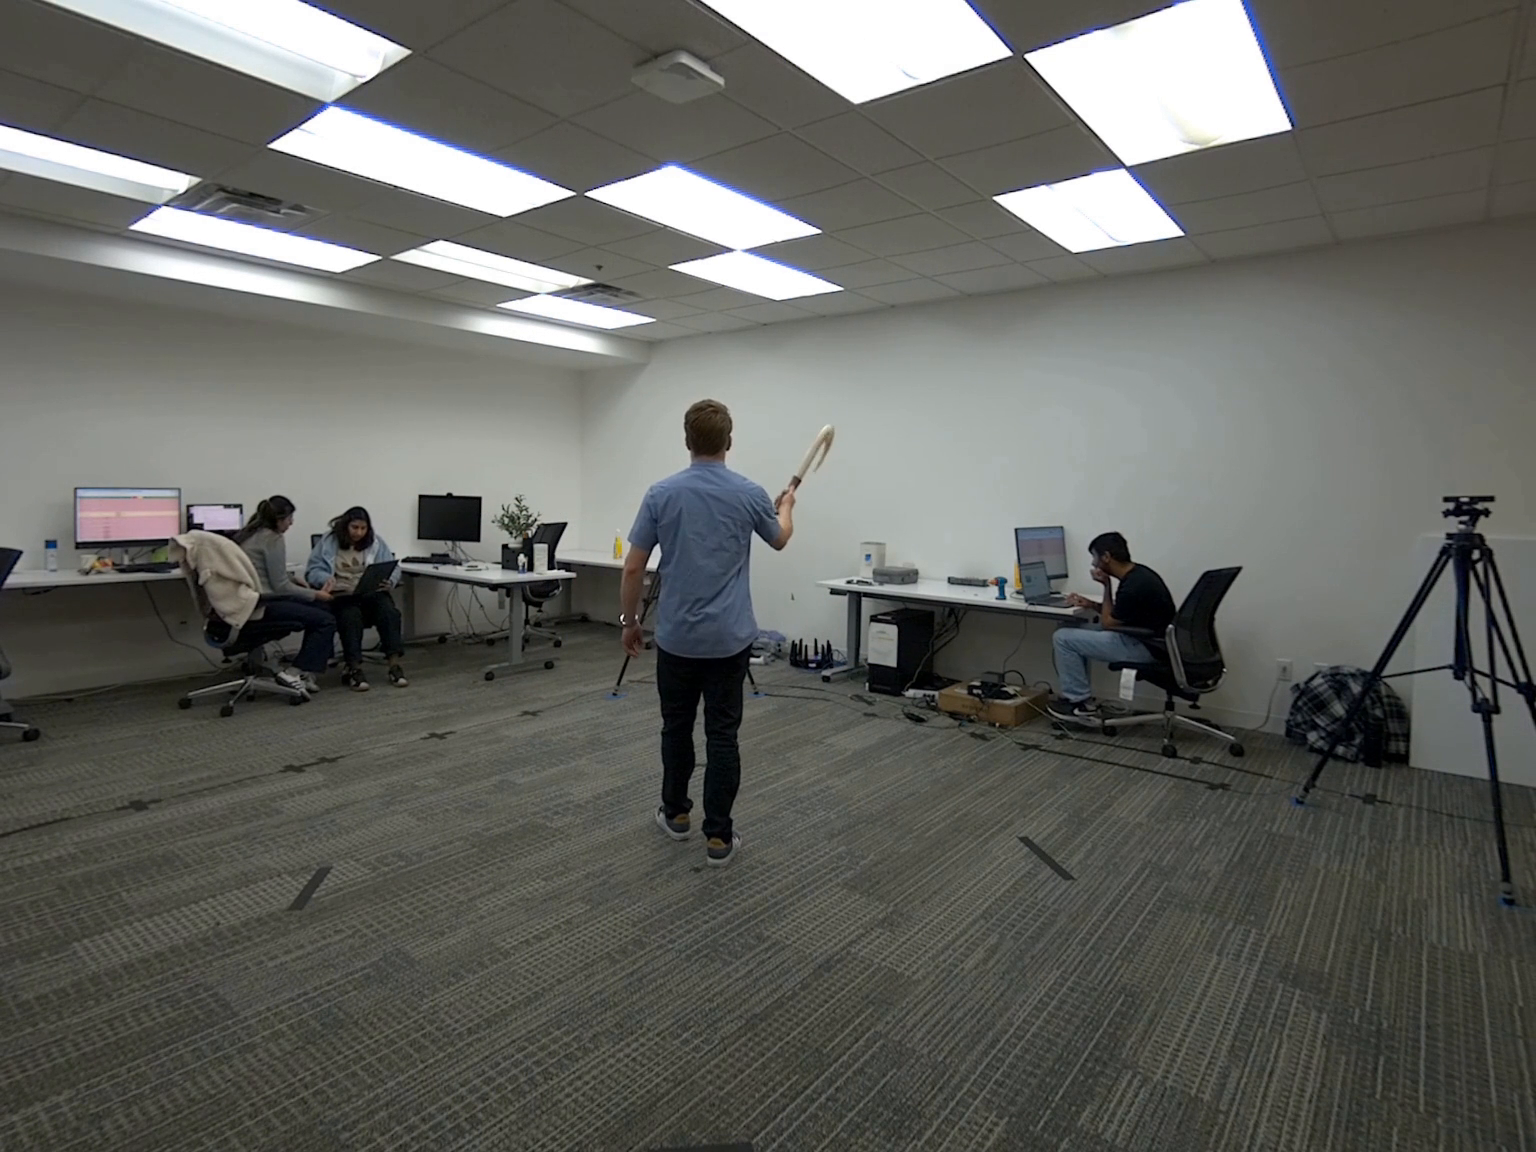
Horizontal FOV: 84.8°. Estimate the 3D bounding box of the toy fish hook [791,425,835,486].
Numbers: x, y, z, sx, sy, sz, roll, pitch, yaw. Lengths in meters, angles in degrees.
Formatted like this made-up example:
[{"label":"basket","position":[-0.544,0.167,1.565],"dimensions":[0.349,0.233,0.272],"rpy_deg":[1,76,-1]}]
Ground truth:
[{"label":"toy fish hook","position":[0.154,-0.417,3.795],"dimensions":[0.050,0.508,0.217],"rpy_deg":[25,-17,21]}]
